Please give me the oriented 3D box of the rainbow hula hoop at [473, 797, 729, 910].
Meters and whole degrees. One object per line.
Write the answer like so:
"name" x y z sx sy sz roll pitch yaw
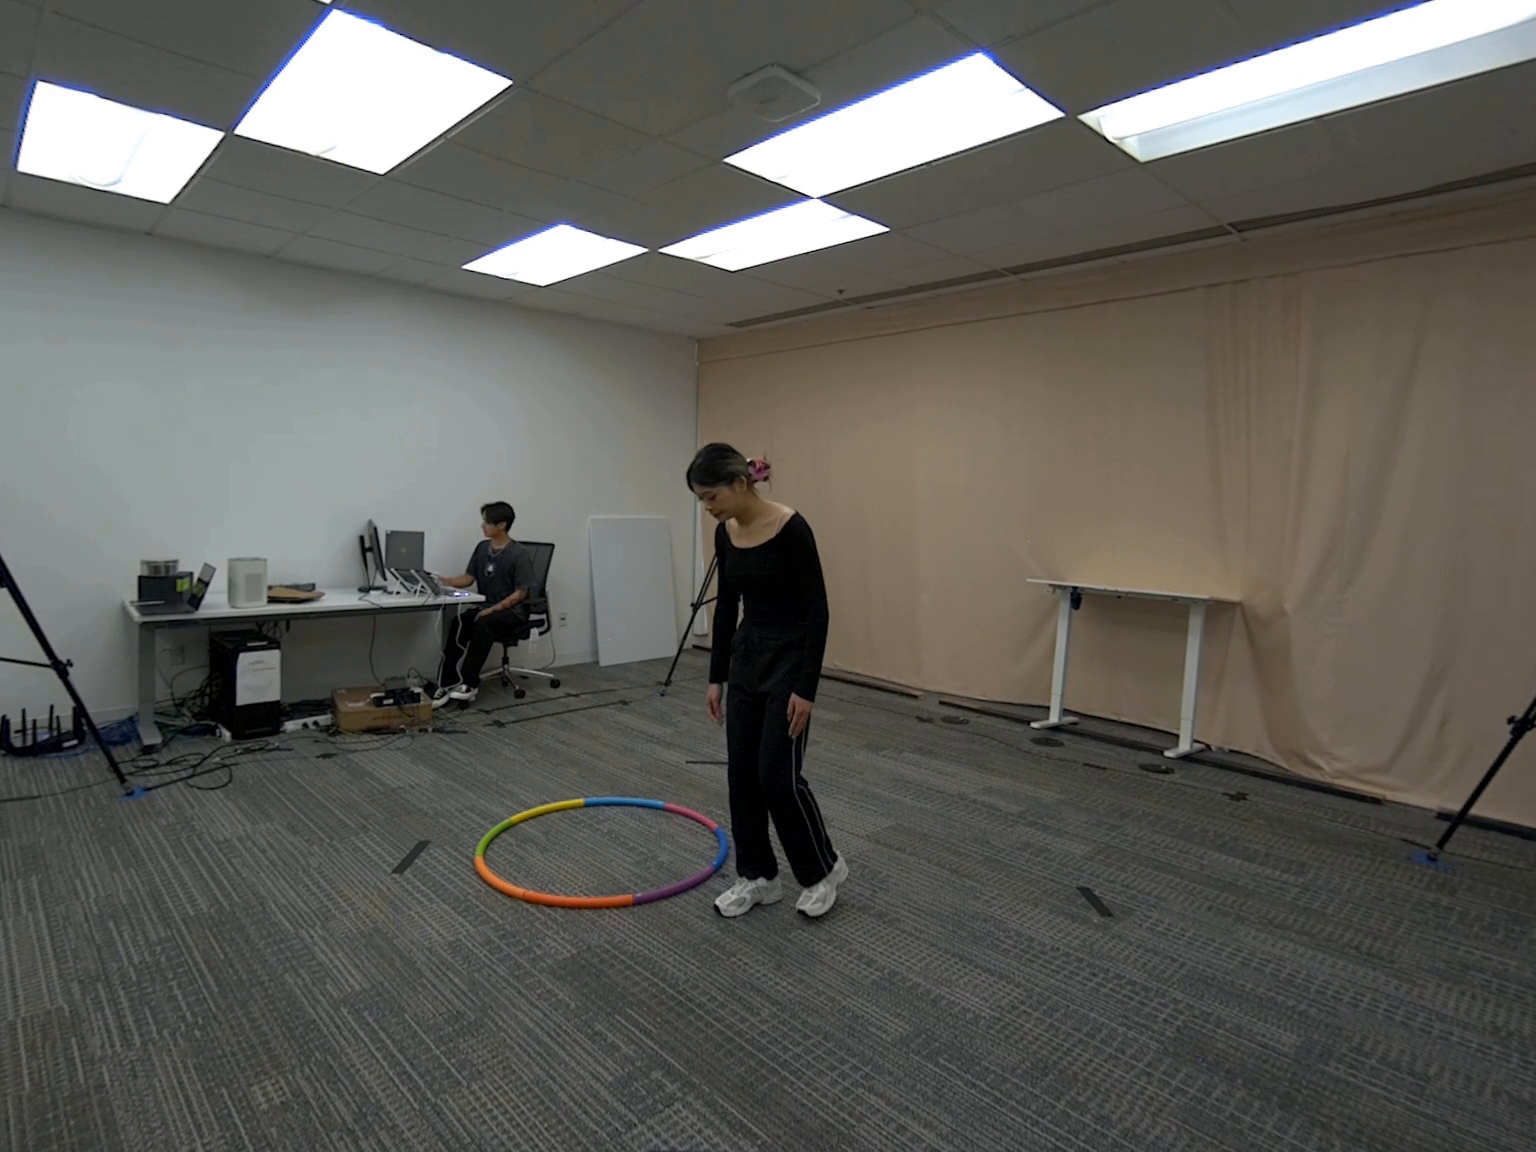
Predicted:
"rainbow hula hoop" -0.648 1.047 3.315 0.978 0.035 0.982 2 5 -1
